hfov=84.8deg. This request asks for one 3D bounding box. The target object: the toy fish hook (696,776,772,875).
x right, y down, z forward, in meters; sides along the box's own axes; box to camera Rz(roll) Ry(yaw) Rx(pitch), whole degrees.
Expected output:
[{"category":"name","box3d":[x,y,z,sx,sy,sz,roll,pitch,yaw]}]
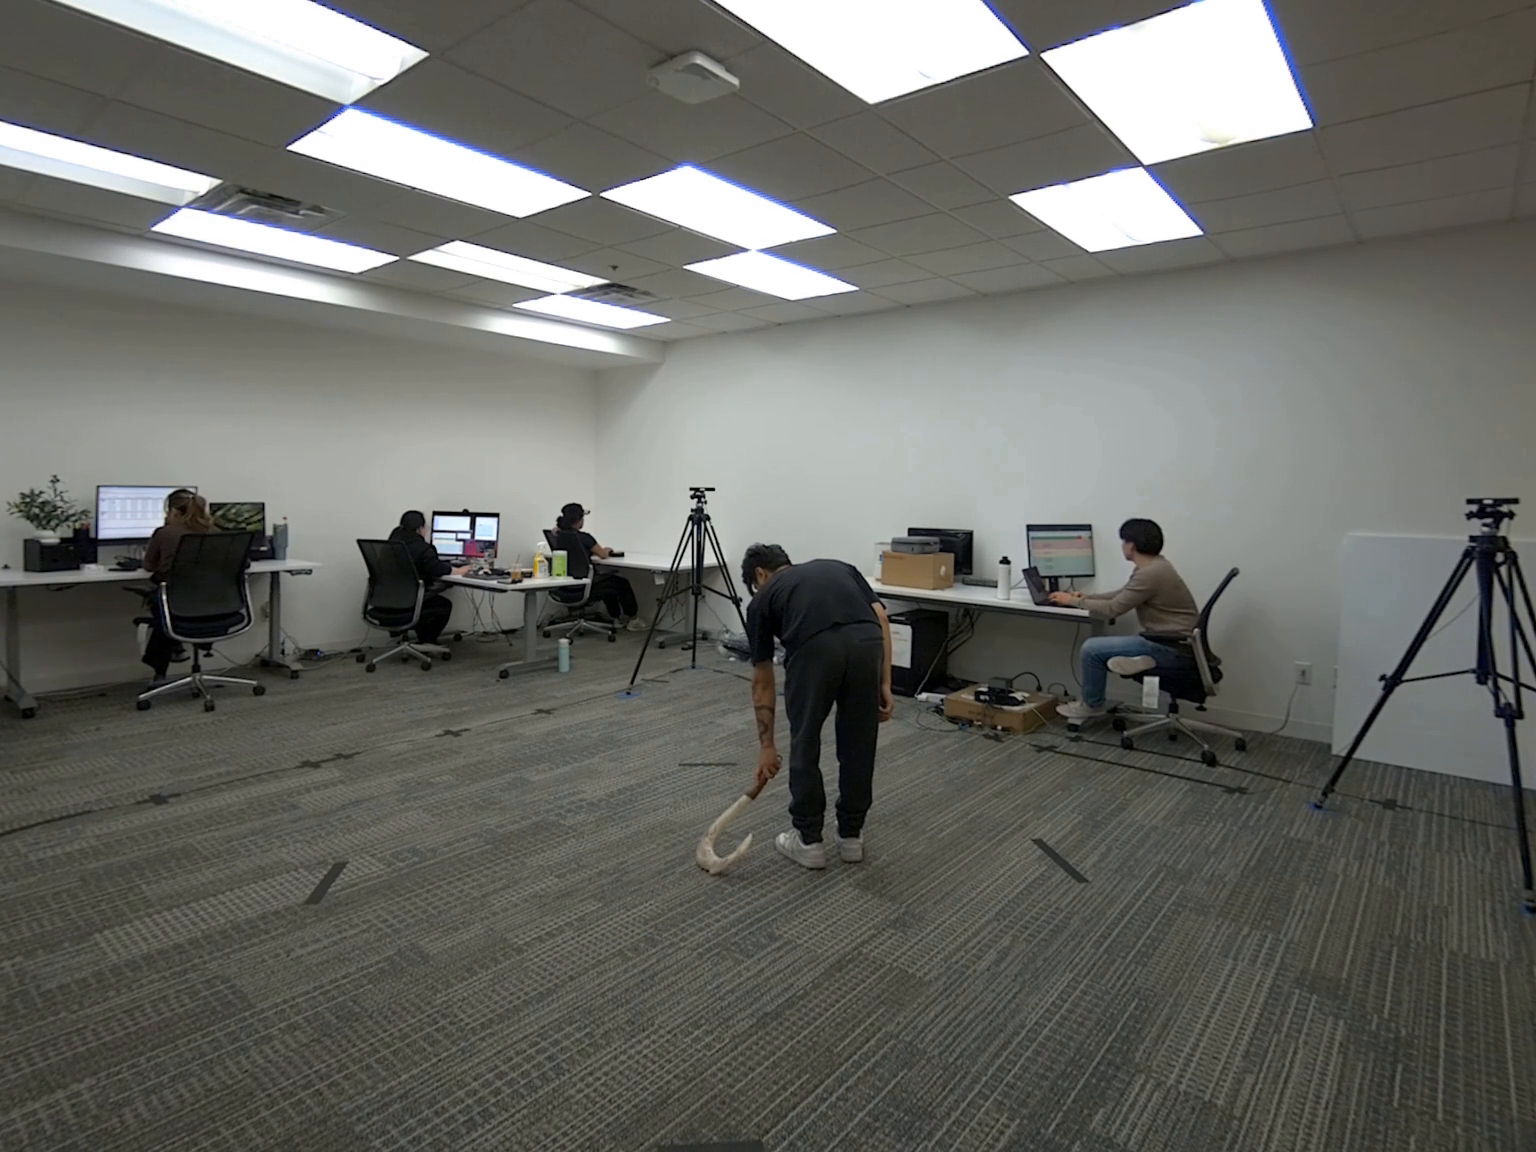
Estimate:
[{"category":"toy fish hook","box3d":[-0.088,0.893,3.184,0.233,0.507,0.046,13,-33,49]}]
